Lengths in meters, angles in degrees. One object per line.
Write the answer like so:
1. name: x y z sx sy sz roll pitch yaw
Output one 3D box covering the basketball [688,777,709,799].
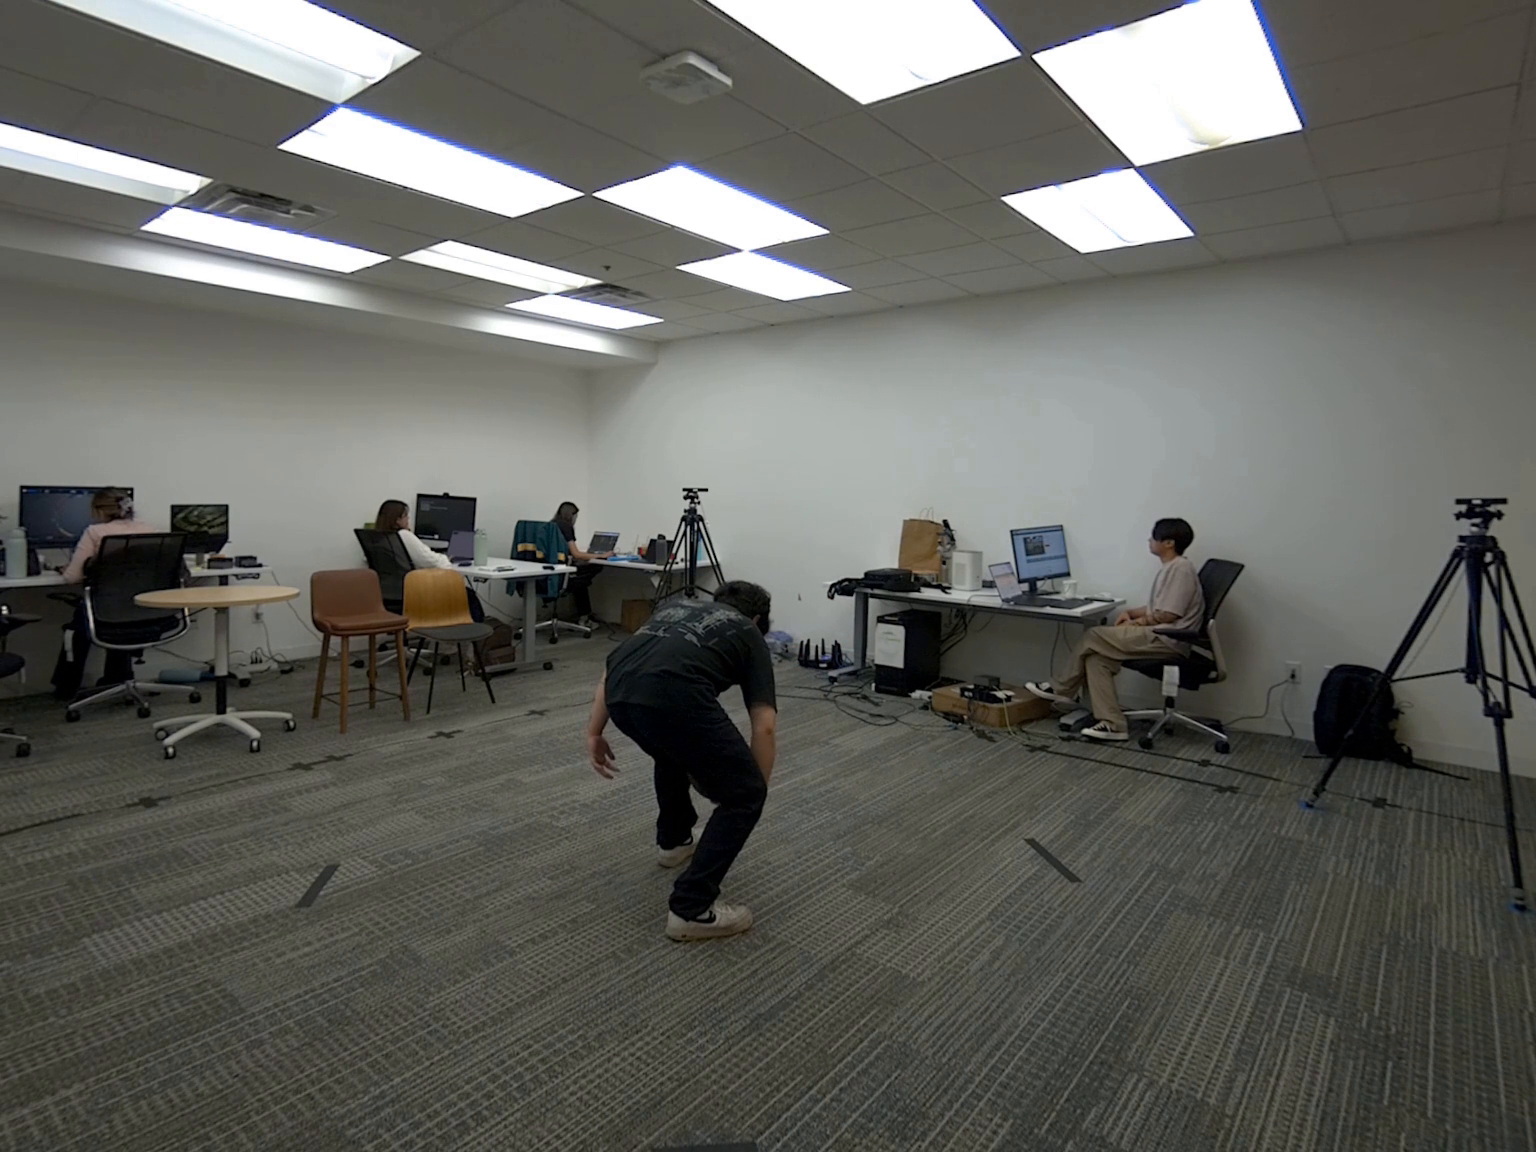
1. basketball: -0.173 0.660 2.952 0.235 0.235 0.237 1 4 -2
